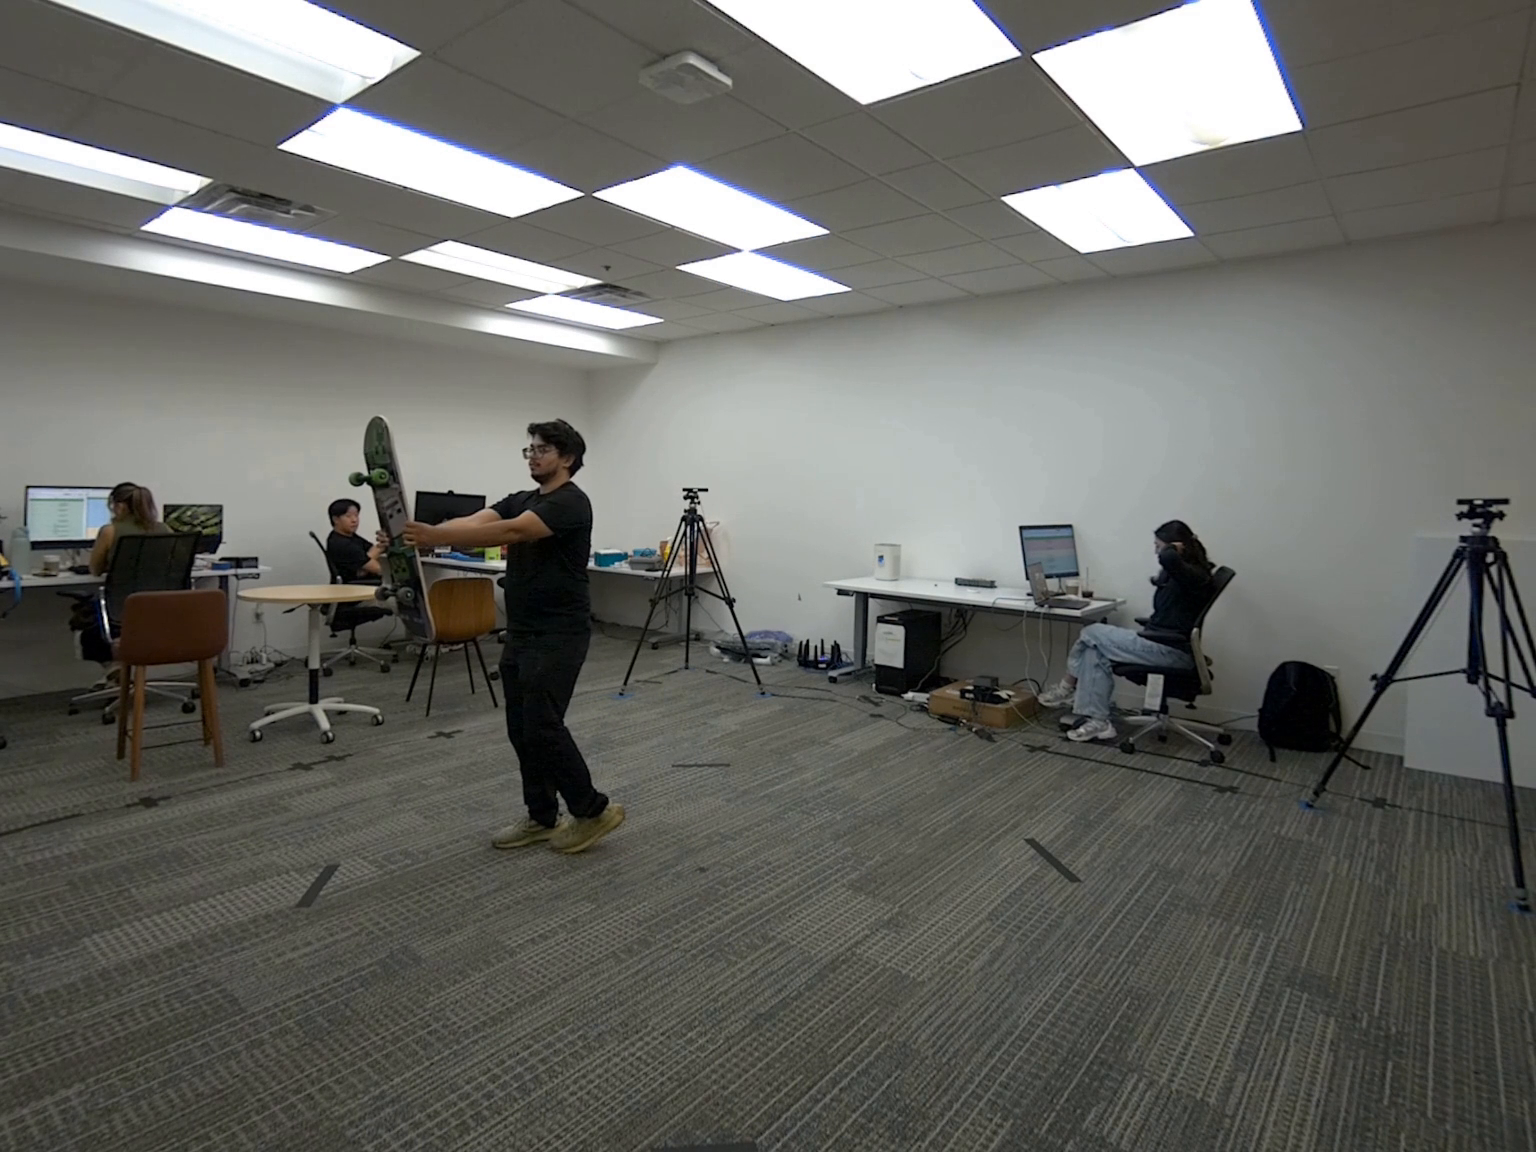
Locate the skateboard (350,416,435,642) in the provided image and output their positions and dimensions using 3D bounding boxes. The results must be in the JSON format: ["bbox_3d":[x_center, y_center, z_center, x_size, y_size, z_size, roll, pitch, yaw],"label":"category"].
[{"bbox_3d":[-1.278,-0.139,2.855,0.199,0.777,0.108,-1,11,39],"label":"skateboard"}]
